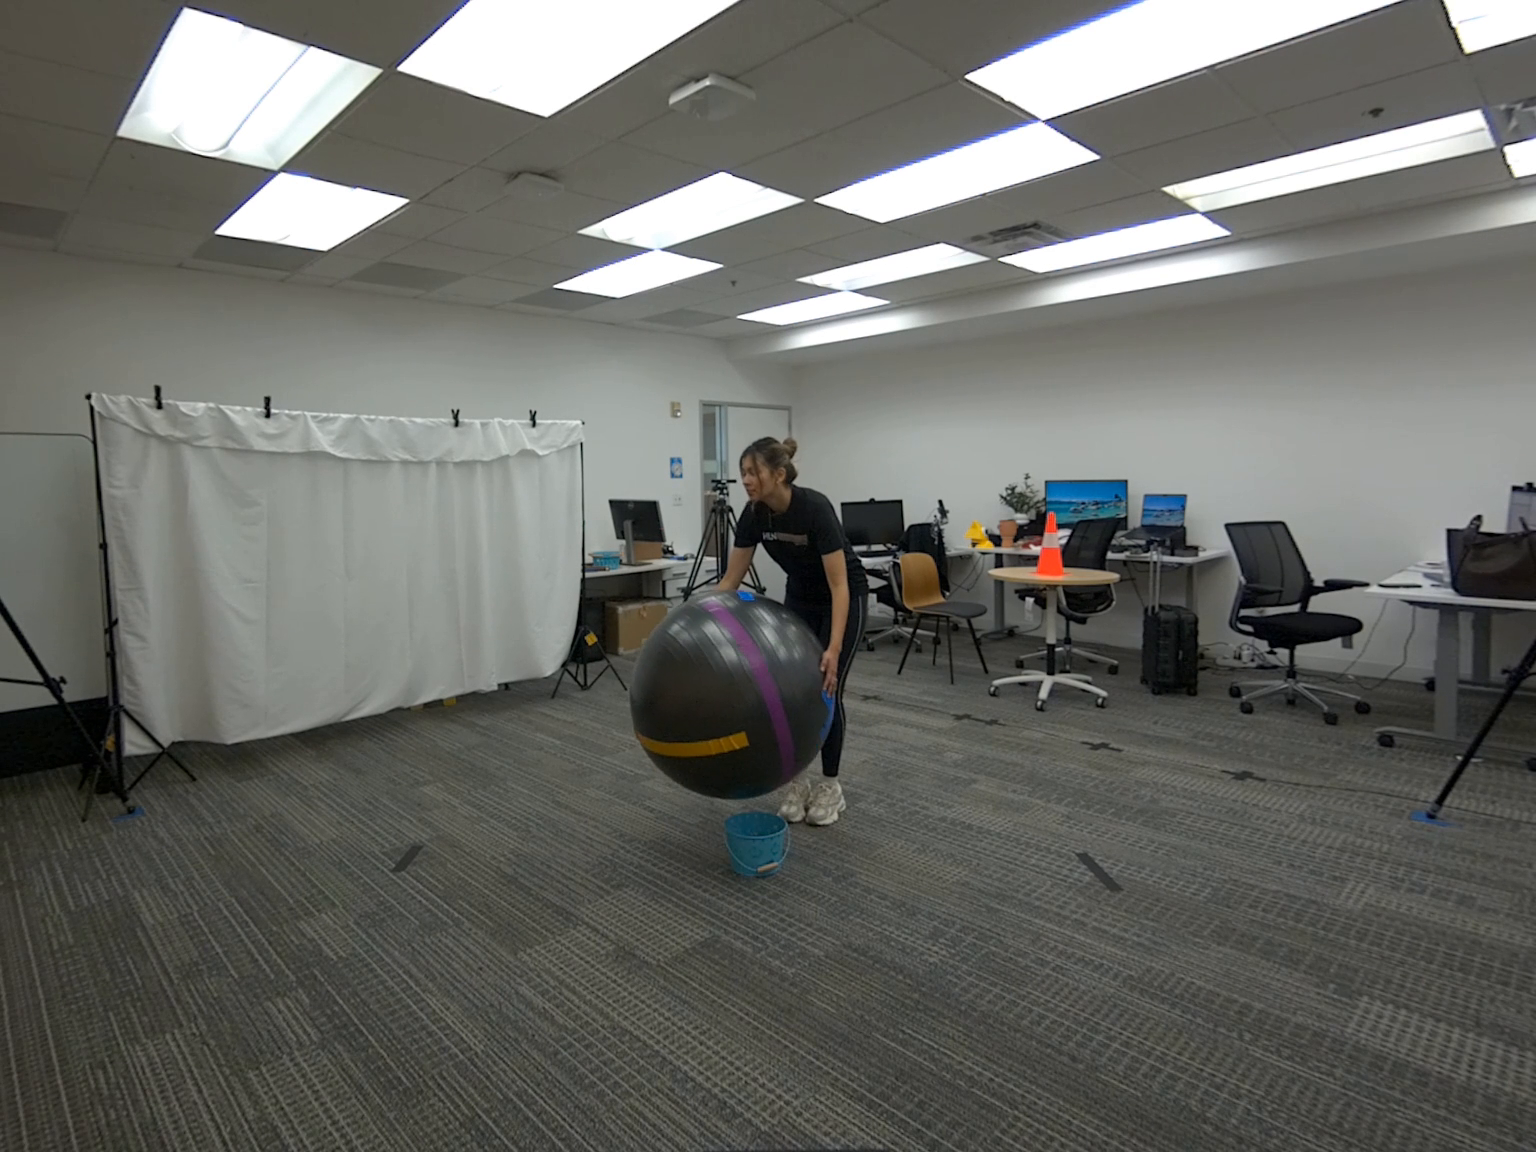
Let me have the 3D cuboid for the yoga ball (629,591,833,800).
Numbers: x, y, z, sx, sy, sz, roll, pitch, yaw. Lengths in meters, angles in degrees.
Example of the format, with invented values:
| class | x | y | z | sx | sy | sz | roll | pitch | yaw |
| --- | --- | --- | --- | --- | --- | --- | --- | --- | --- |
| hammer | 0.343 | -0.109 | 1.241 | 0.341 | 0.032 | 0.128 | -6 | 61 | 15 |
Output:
| class | x | y | z | sx | sy | sz | roll | pitch | yaw |
| --- | --- | --- | --- | --- | --- | --- | --- | --- | --- |
| yoga ball | -0.135 | 0.436 | 3.172 | 0.757 | 0.755 | 0.762 | -1 | 5 | -2 |
